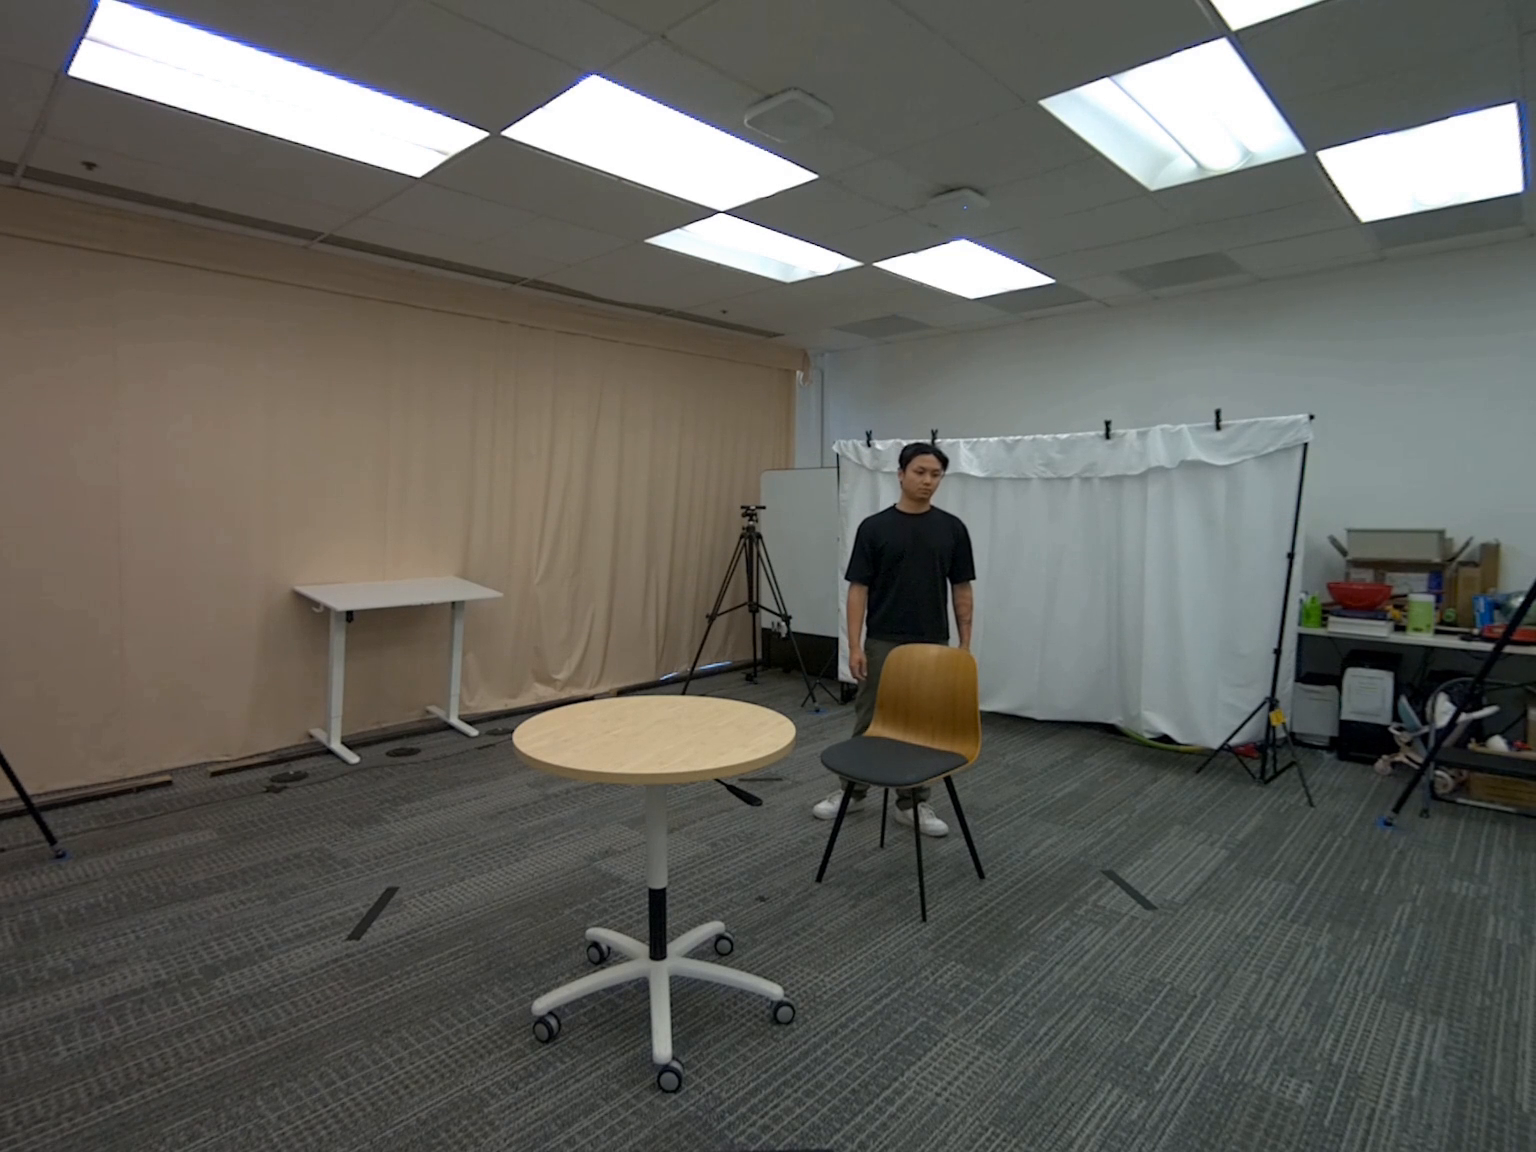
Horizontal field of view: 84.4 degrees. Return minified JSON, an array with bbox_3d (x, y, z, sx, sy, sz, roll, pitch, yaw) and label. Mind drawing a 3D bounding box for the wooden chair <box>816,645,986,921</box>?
[{"bbox_3d":[0.491,0.703,3.088,0.494,0.877,0.506,4,0,41],"label":"wooden chair"}]
